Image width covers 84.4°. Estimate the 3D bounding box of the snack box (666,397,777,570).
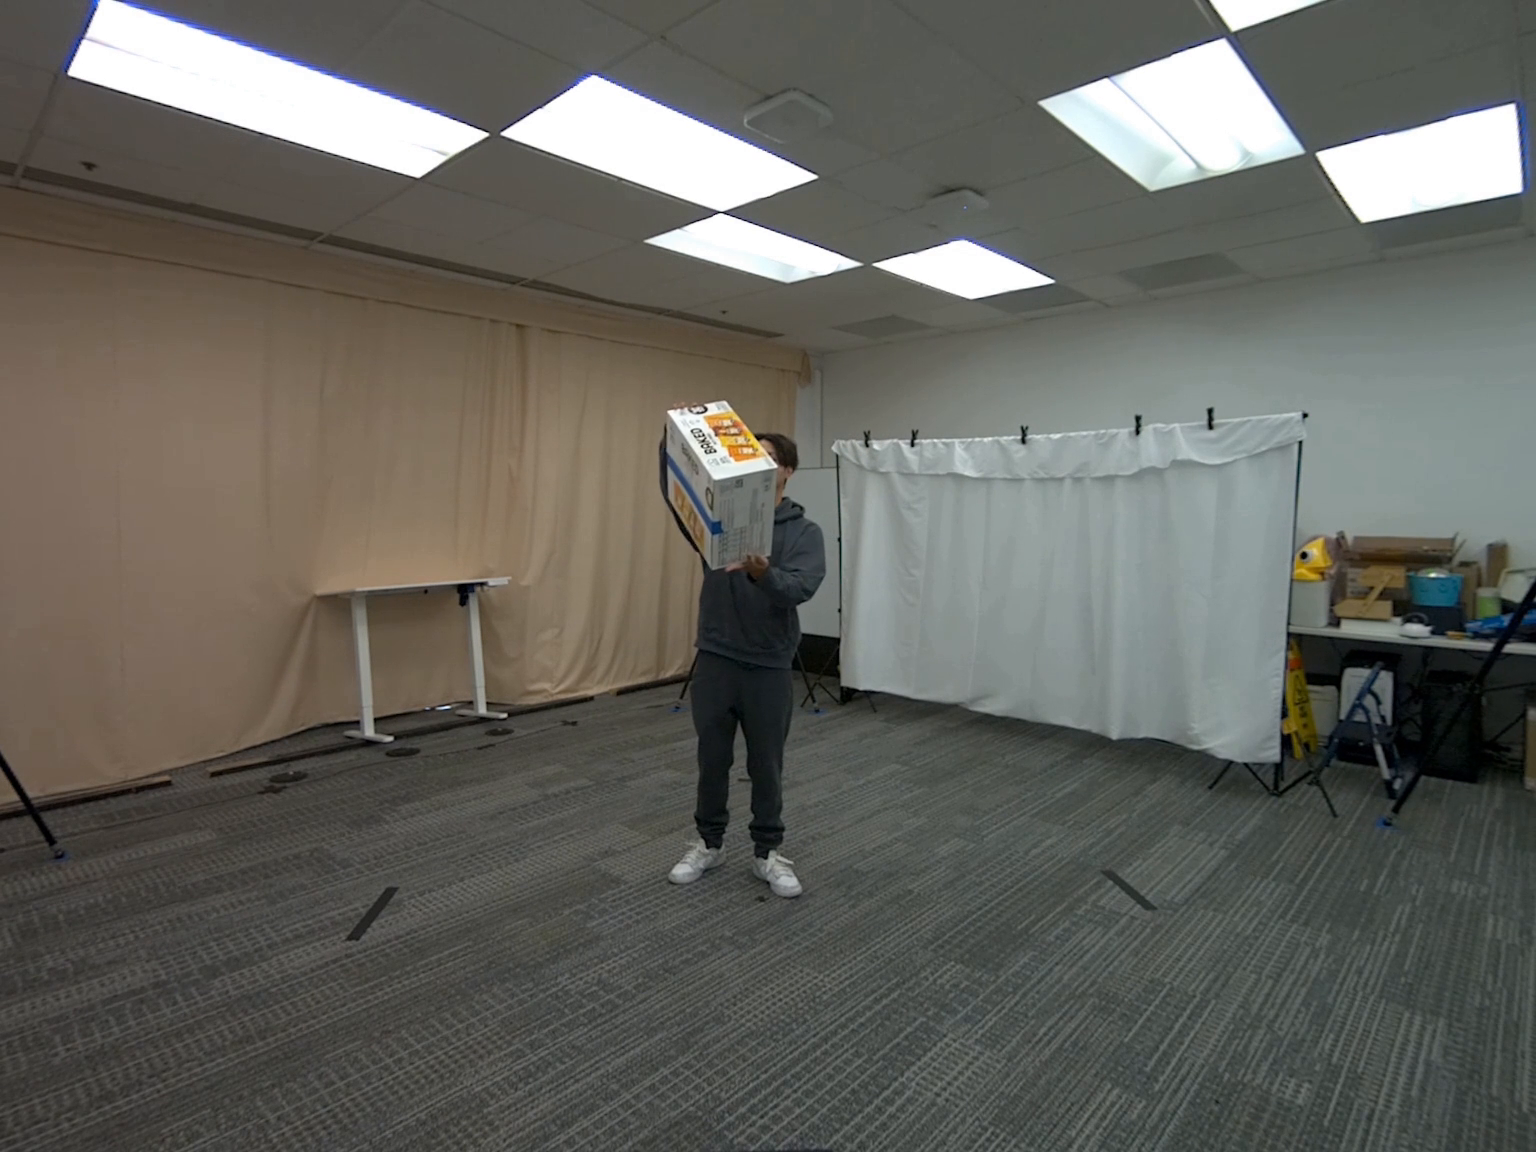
[{"bbox_3d":[-0.154,-0.295,2.631,0.202,0.335,0.418,-11,43,-21],"label":"snack box"}]
